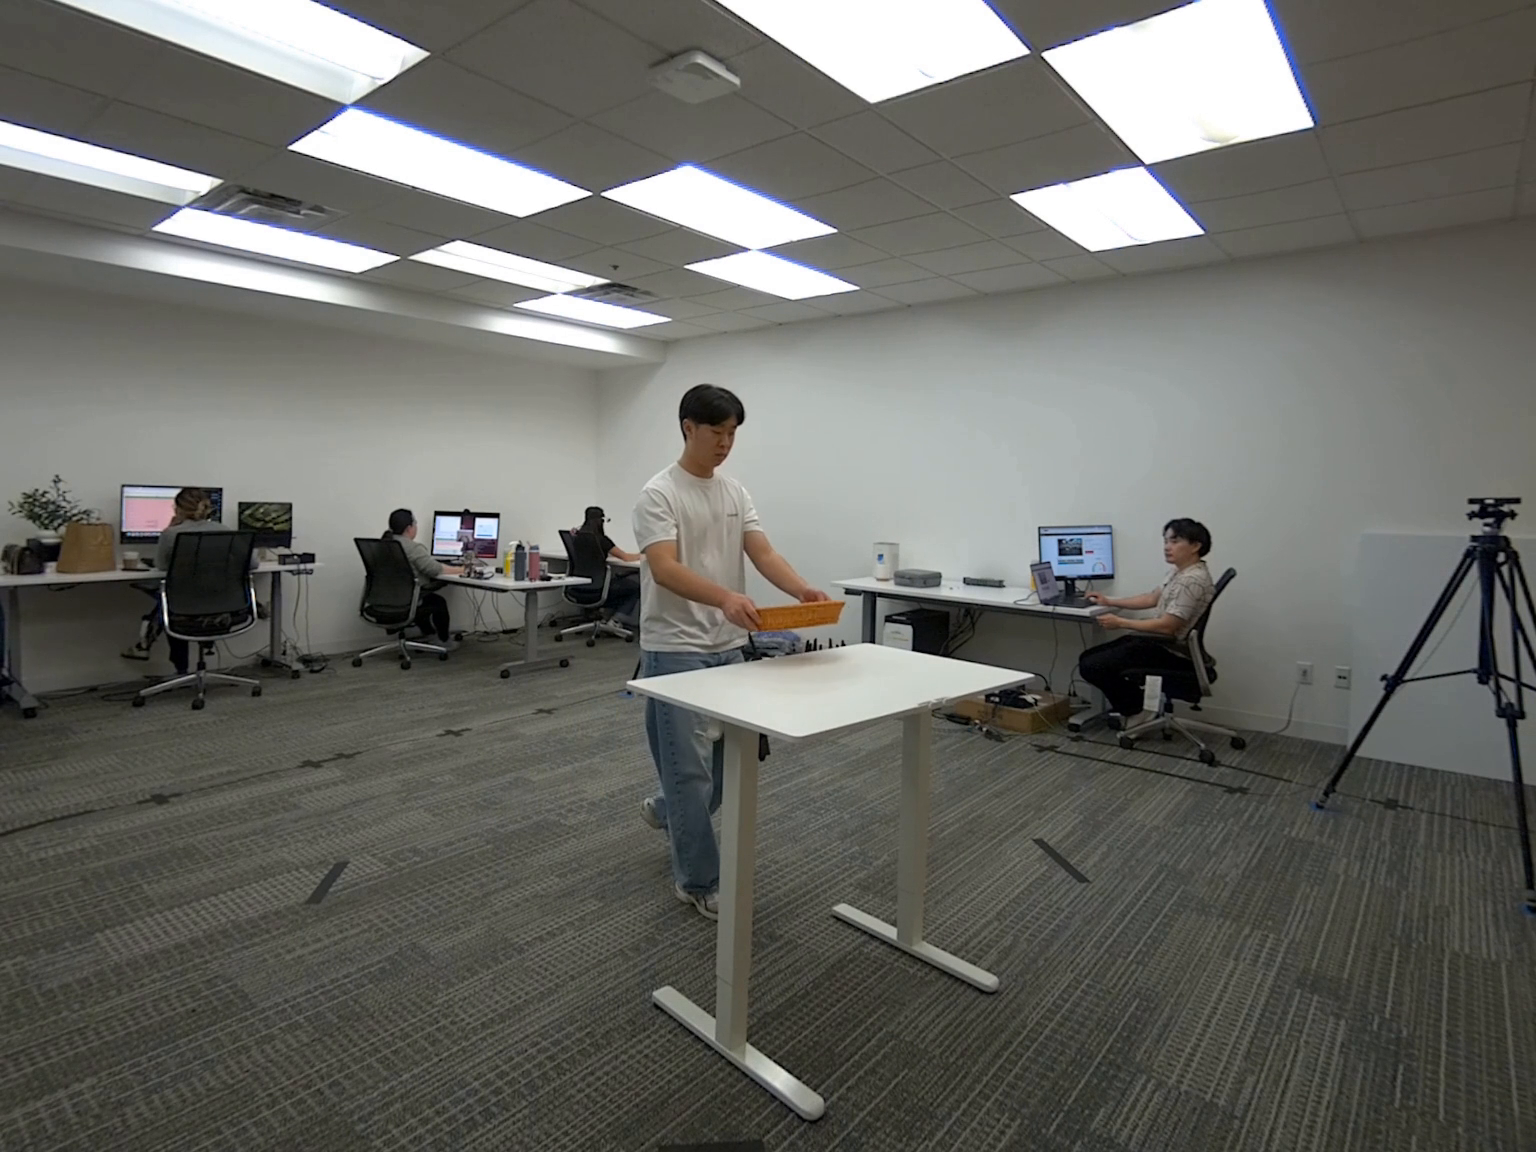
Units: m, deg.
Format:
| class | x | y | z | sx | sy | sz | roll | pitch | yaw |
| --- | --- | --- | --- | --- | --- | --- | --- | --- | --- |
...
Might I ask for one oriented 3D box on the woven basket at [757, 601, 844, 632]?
| class | x | y | z | sx | sy | sz | roll | pitch | yaw |
| --- | --- | --- | --- | --- | --- | --- | --- | --- | --- |
| woven basket | 0.063 | 0.131 | 2.585 | 0.340 | 0.073 | 0.259 | -3 | 0 | -38 |
